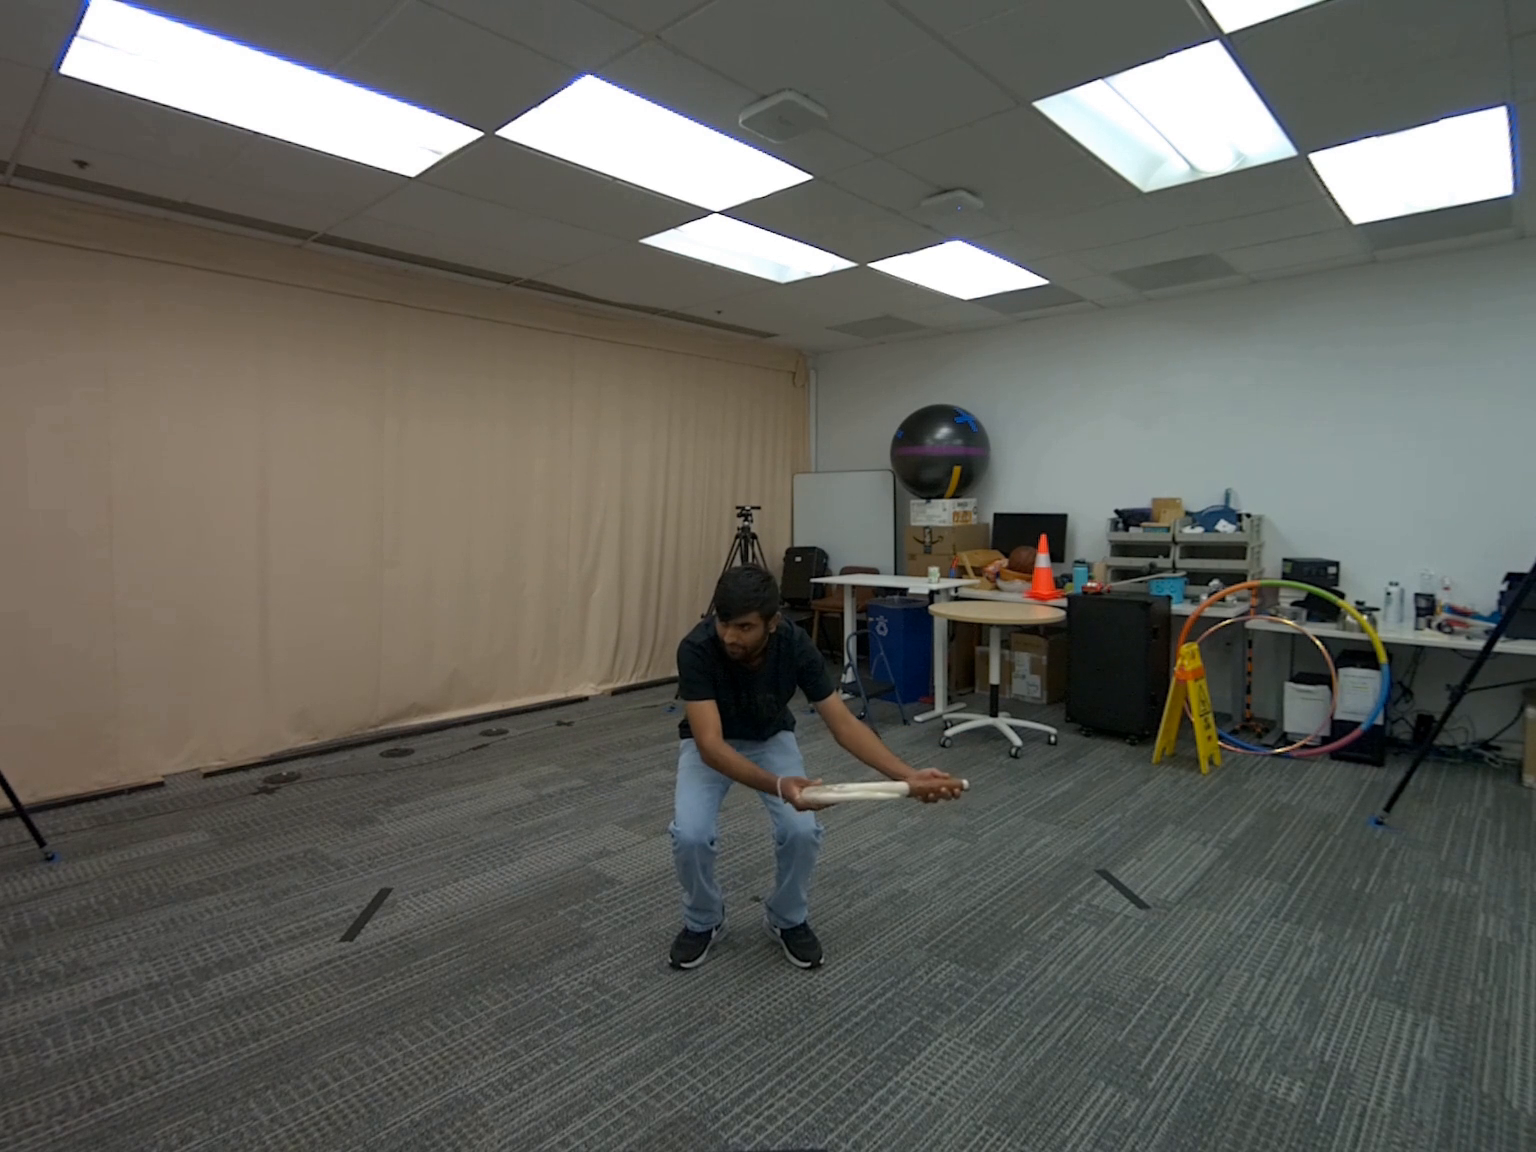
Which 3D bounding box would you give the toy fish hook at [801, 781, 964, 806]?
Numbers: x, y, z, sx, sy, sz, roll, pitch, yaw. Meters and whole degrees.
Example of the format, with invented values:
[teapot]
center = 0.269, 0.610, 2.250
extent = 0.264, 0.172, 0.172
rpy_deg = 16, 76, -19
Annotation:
[toy fish hook]
center = 0.309, 0.538, 2.105
extent = 0.496, 0.048, 0.228
rpy_deg = 1, -7, -21
